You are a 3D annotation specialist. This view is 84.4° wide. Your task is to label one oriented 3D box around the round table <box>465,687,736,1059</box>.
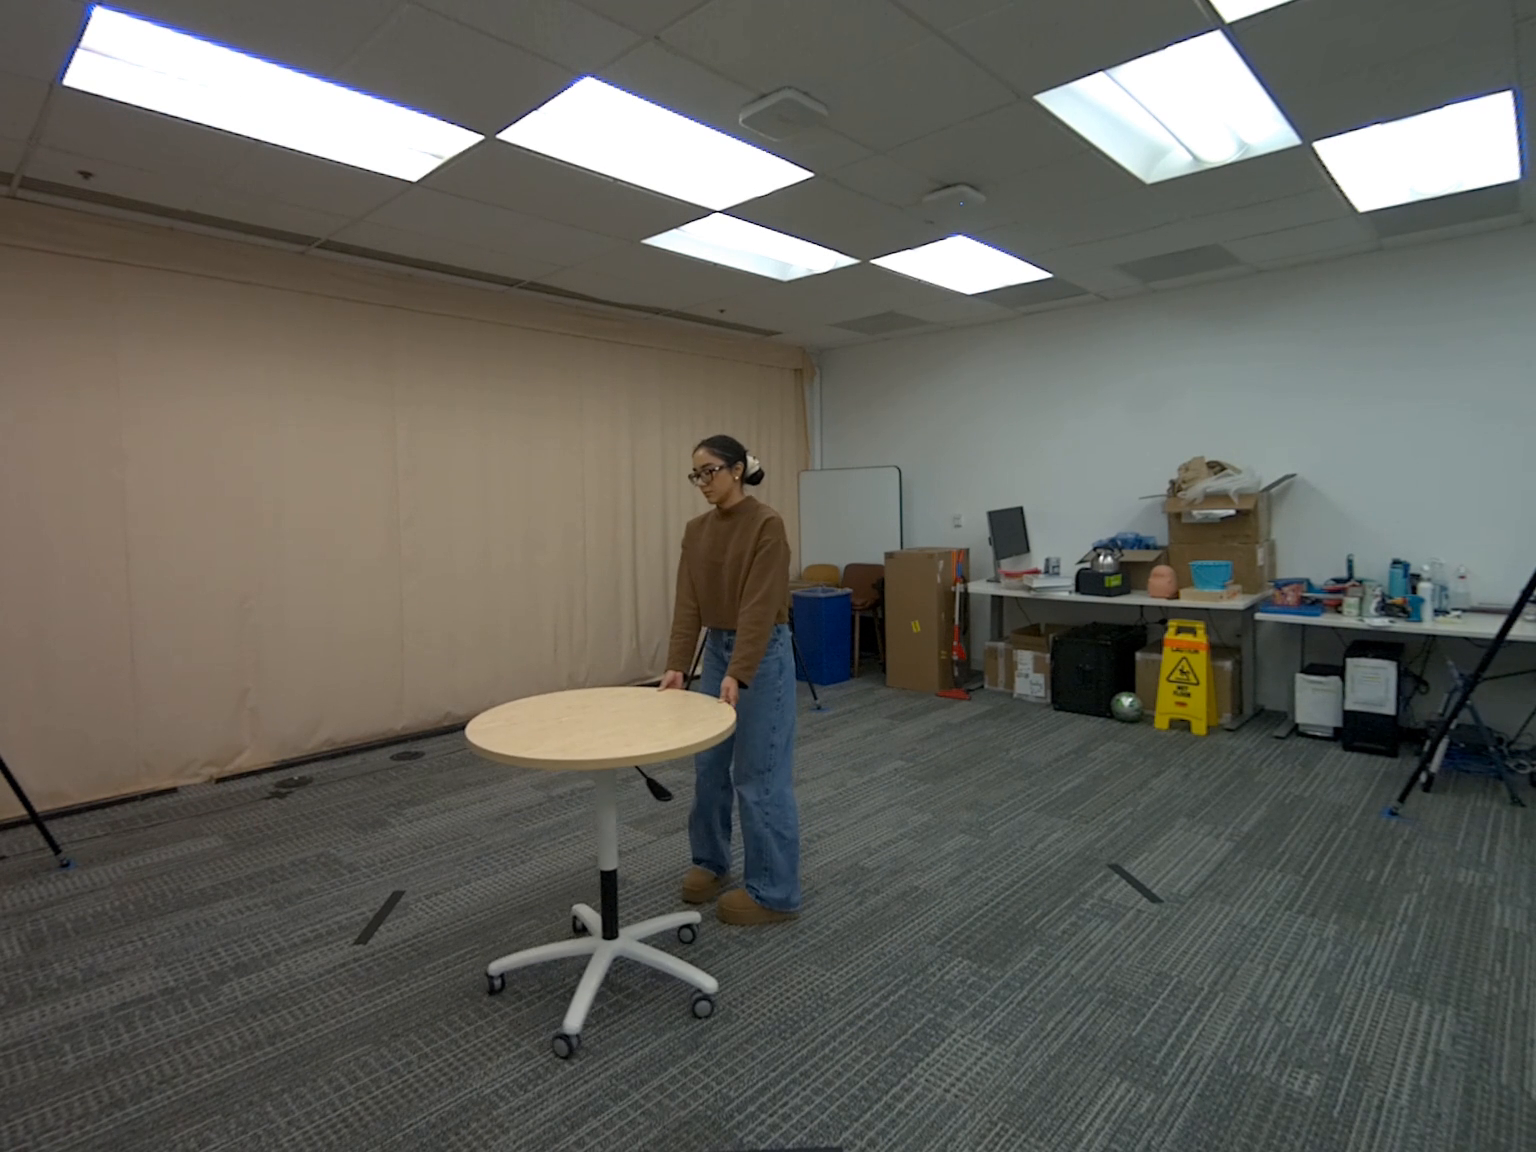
[{"bbox_3d":[-0.464,0.797,2.472,0.784,0.784,0.788,-1,5,-2],"label":"round table"}]
